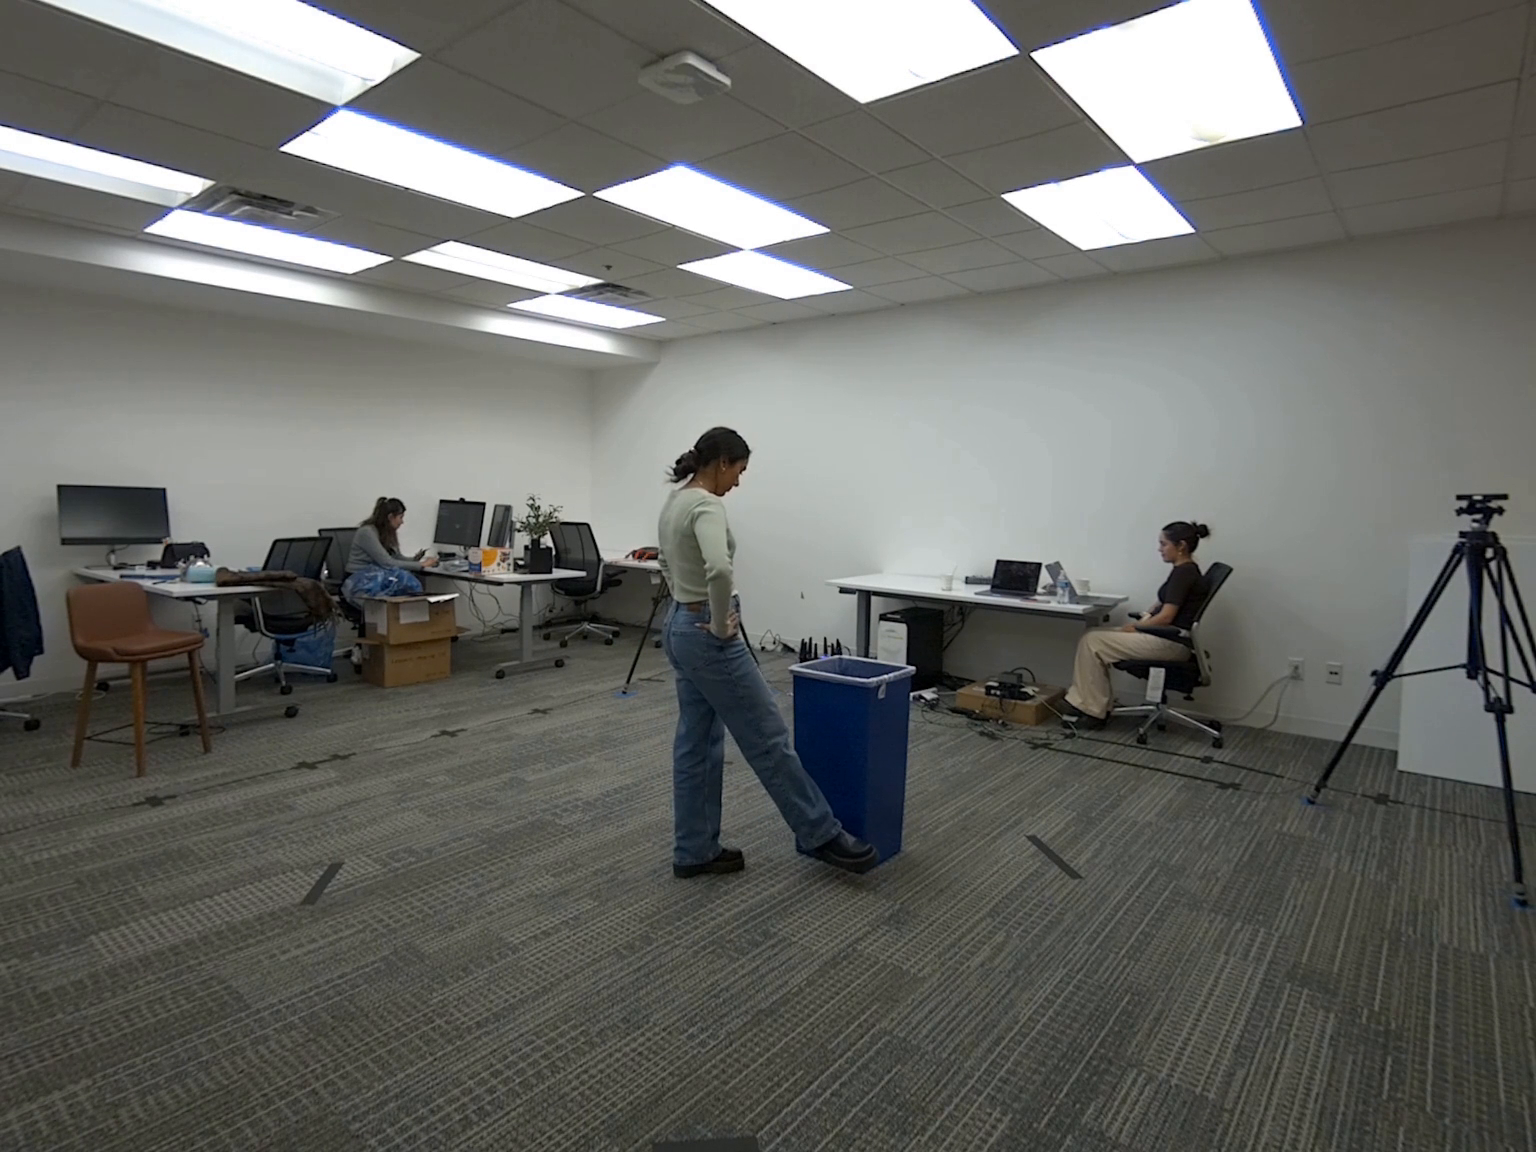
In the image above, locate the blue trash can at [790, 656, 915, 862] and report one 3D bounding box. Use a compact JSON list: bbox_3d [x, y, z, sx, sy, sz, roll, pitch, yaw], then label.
[{"bbox_3d":[0.315,0.700,3.277,0.390,0.712,0.363,3,4,38],"label":"blue trash can"}]
